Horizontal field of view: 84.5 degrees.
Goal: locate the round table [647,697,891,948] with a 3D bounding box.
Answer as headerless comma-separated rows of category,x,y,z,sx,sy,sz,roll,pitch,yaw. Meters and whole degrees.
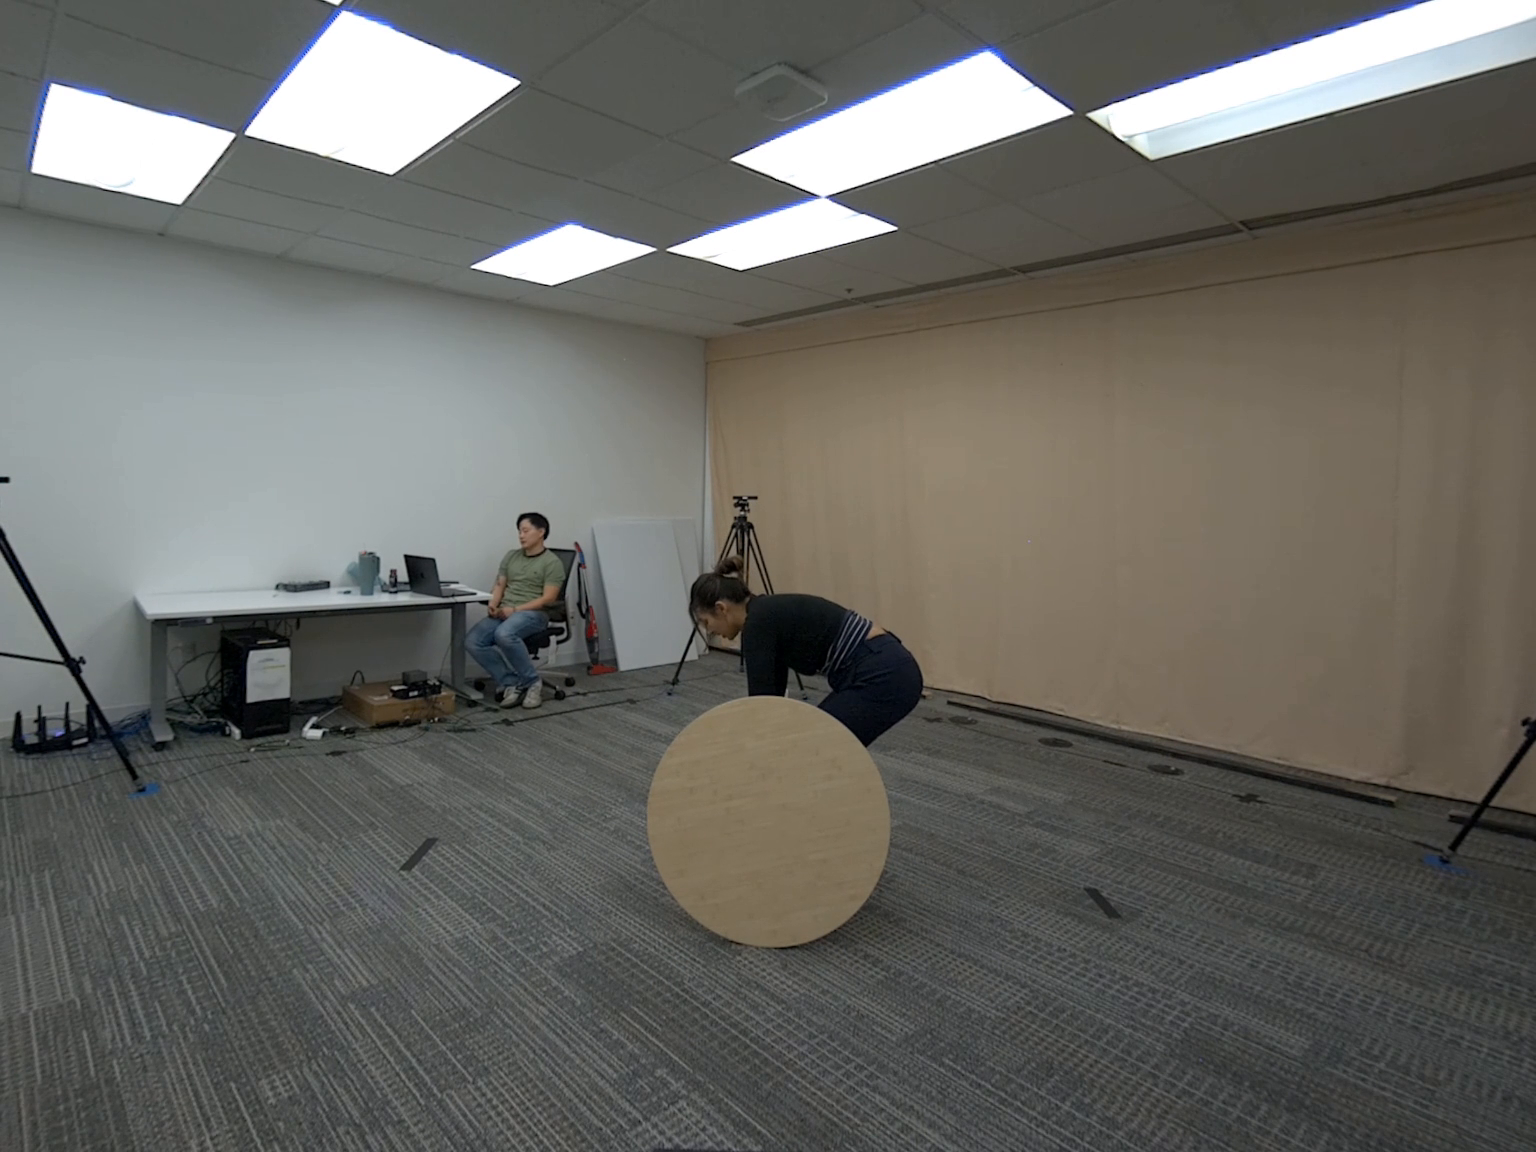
round table,0.015,0.785,3.030,0.768,0.766,0.787,2,-4,5
